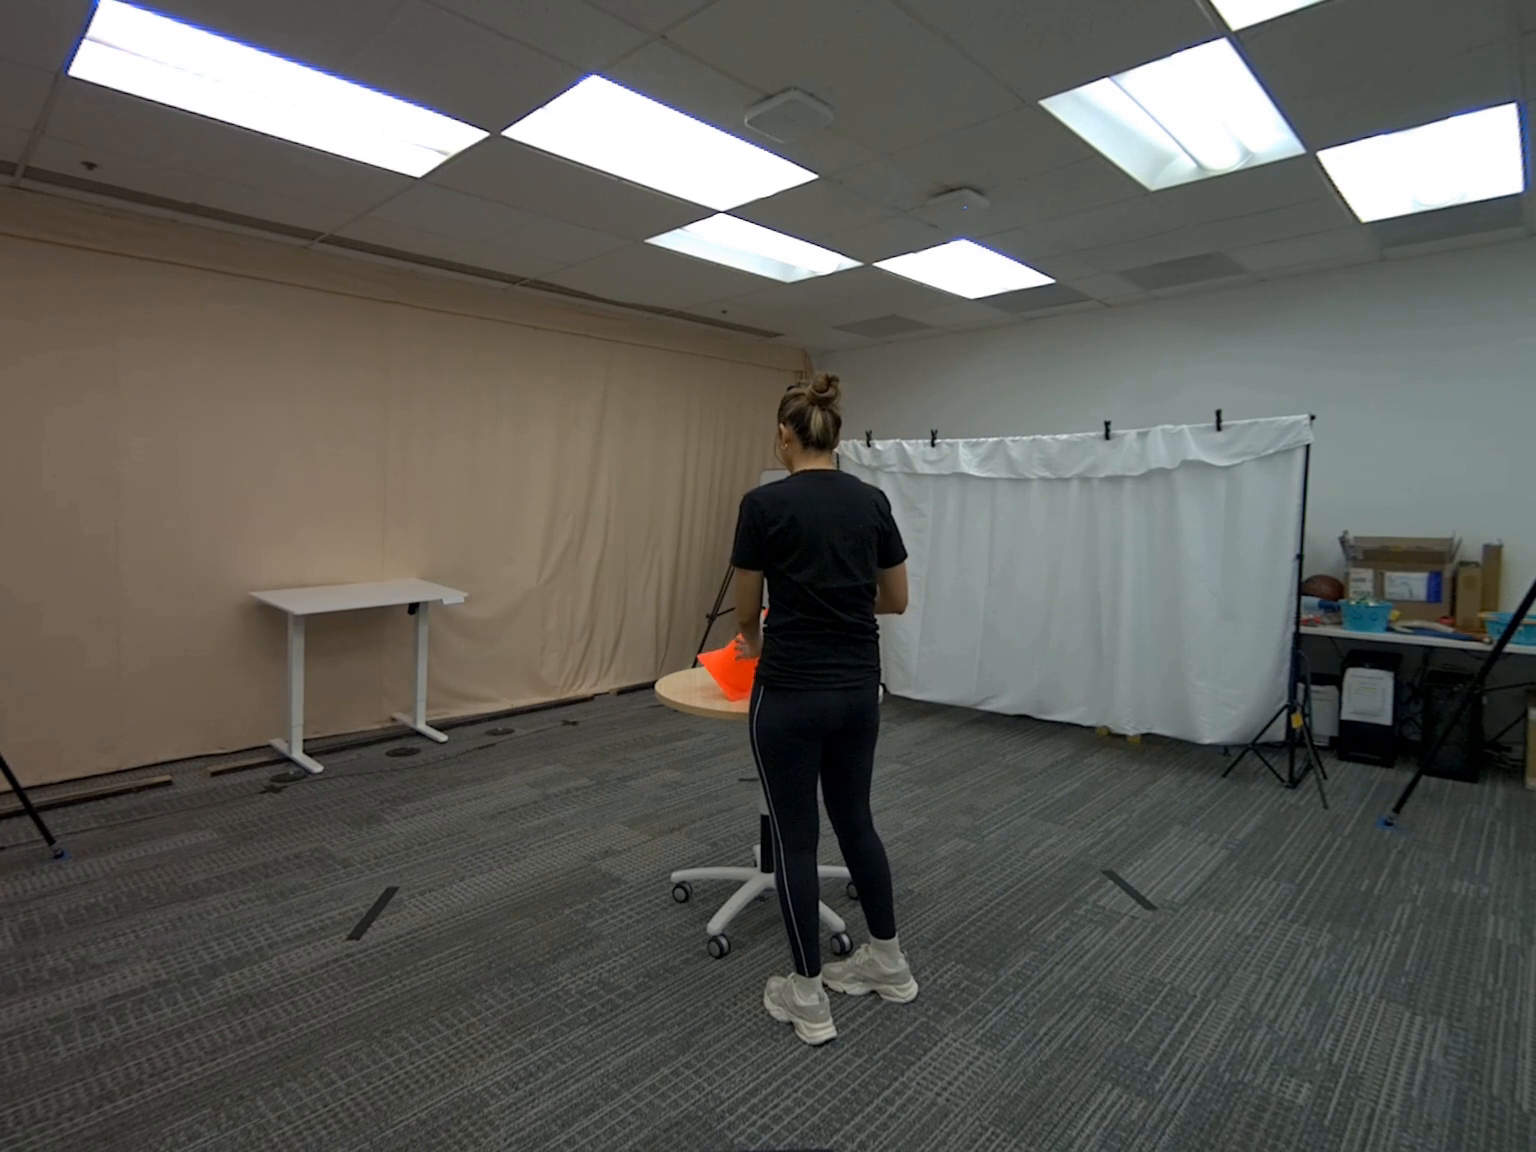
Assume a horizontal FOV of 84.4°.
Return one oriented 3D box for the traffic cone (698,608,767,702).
[{"bbox_3d":[-0.008,0.184,2.641,0.198,0.384,0.209,-1,44,-47],"label":"traffic cone"}]
